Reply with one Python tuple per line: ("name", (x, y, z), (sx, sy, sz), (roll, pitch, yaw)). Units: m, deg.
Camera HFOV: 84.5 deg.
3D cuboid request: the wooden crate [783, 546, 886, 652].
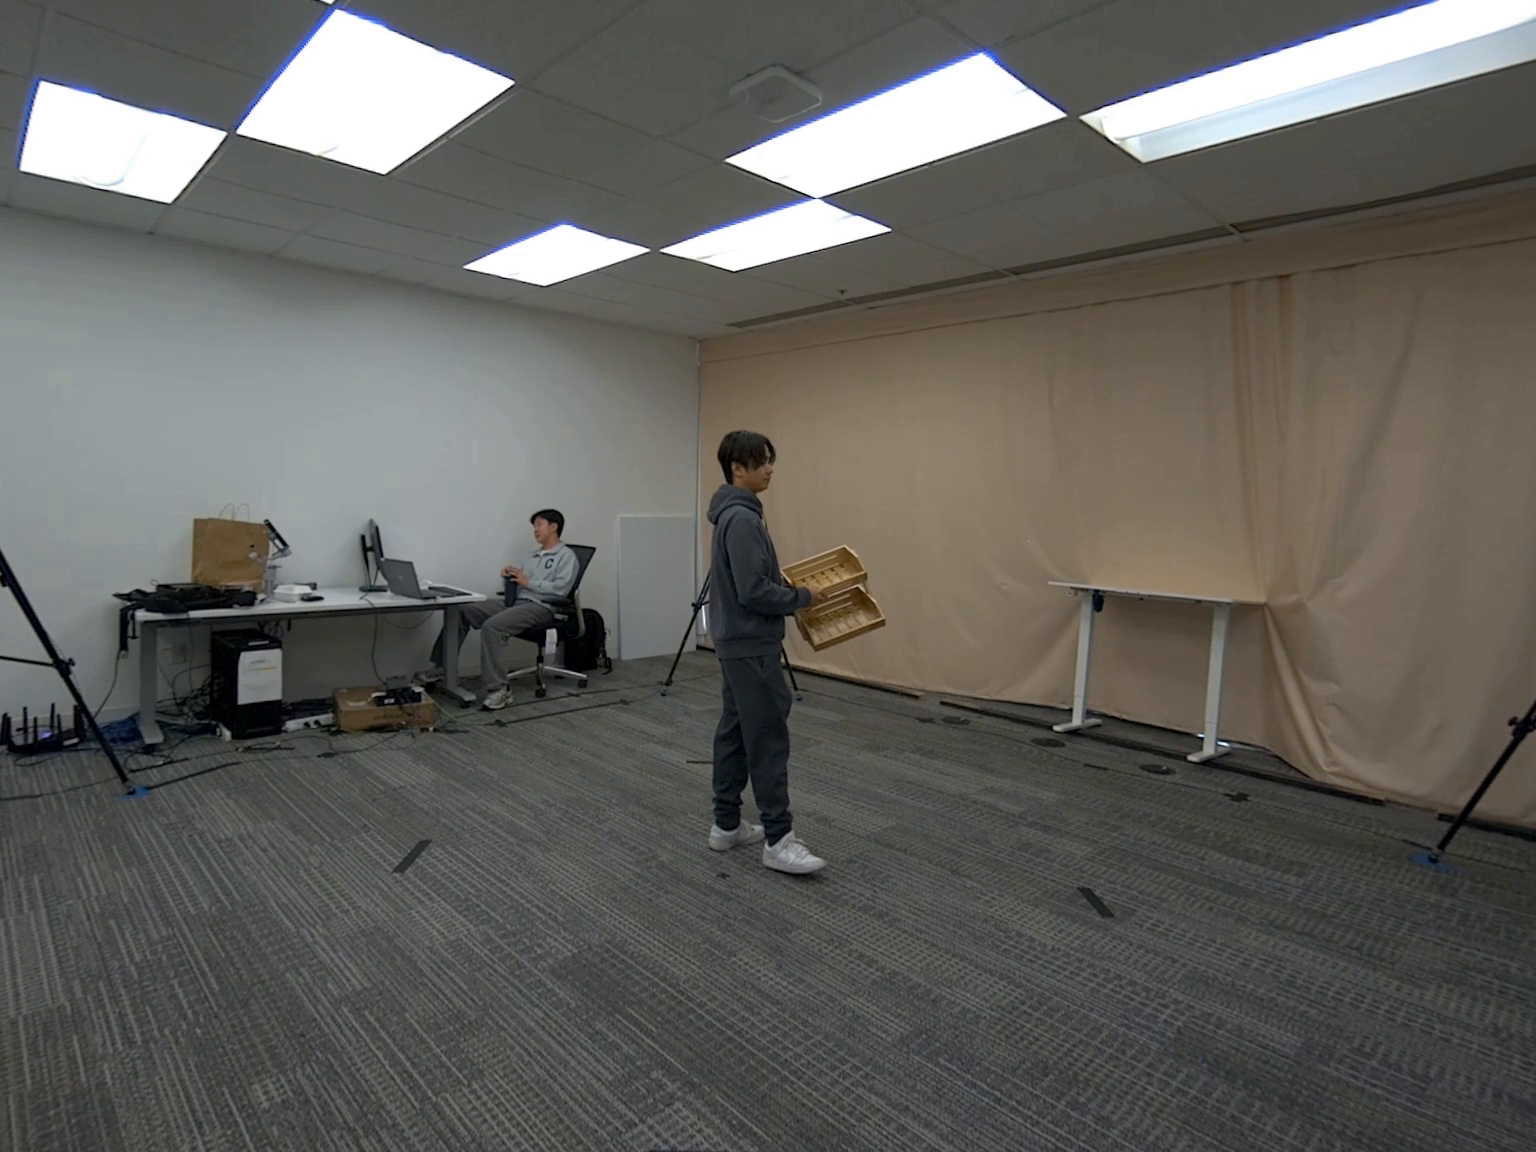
("wooden crate", (0.252, 0.086, 3.361), (0.323, 0.268, 0.310), (-21, 25, -10))
